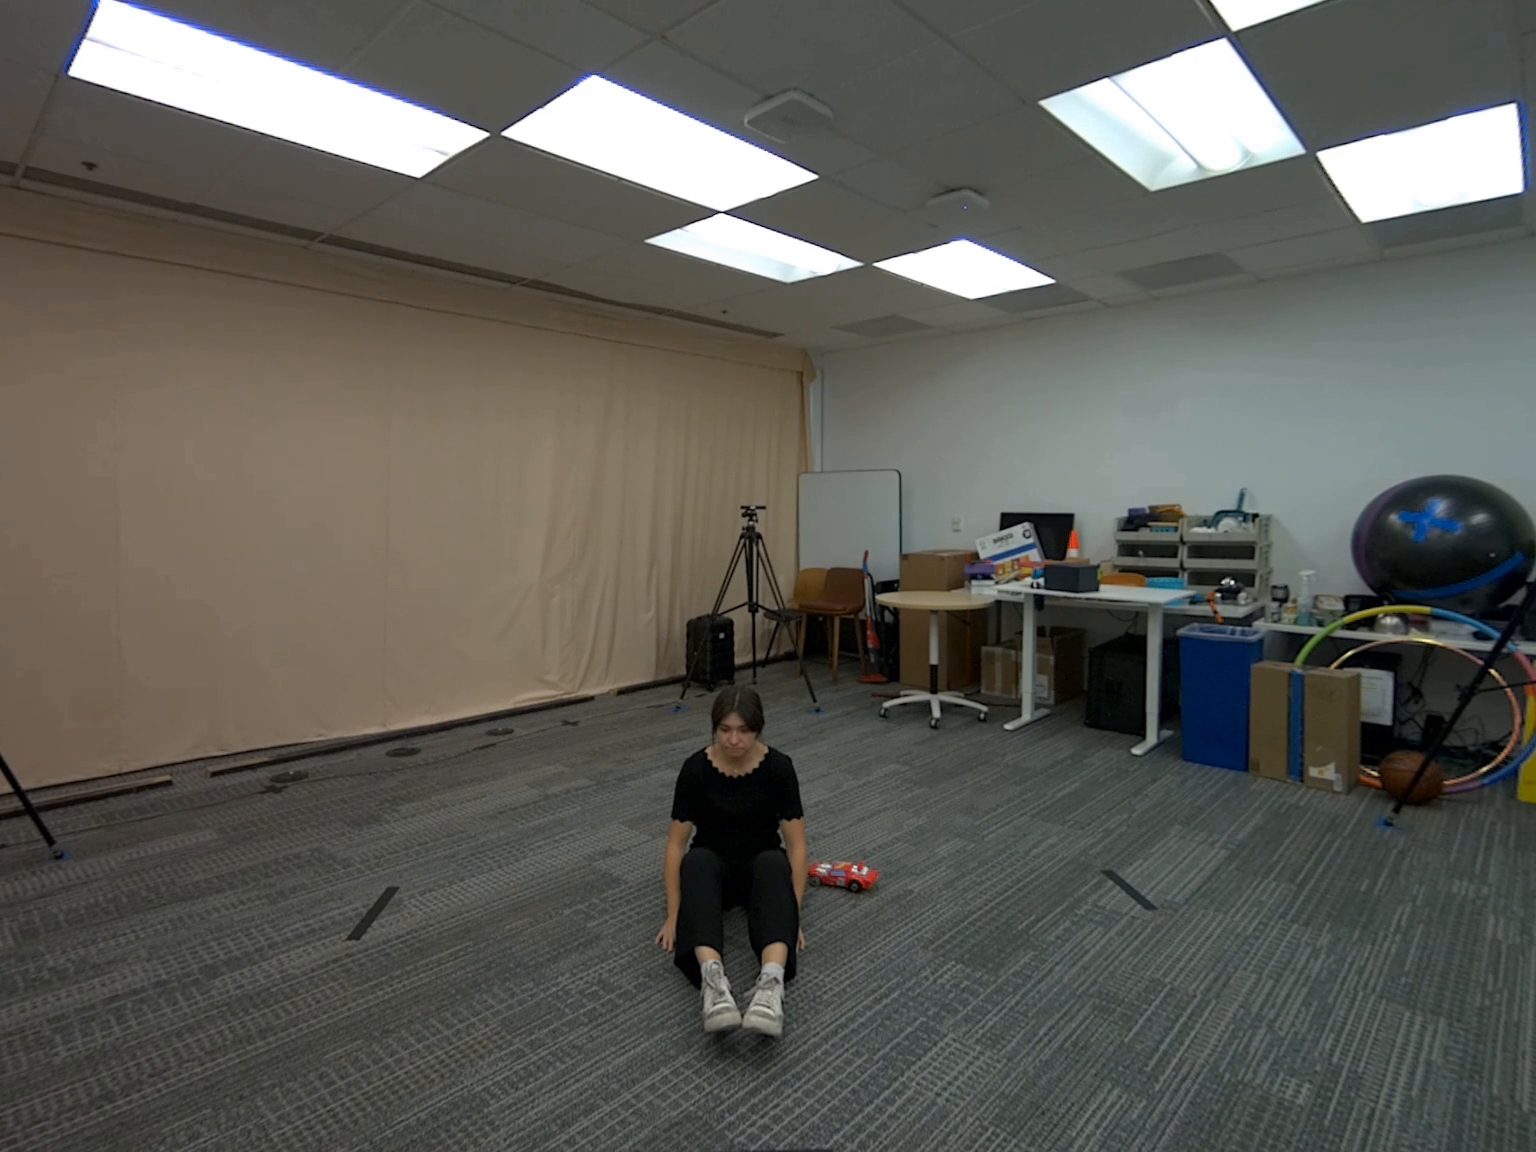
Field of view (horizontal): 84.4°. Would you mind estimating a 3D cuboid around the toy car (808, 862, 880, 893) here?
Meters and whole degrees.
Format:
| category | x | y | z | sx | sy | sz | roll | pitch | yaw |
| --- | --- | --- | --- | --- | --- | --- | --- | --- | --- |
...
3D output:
| category | x | y | z | sx | sy | sz | roll | pitch | yaw |
| --- | --- | --- | --- | --- | --- | --- | --- | --- | --- |
| toy car | 0.286 | 1.103 | 3.083 | 0.259 | 0.083 | 0.128 | -10 | 1 | 21 |
